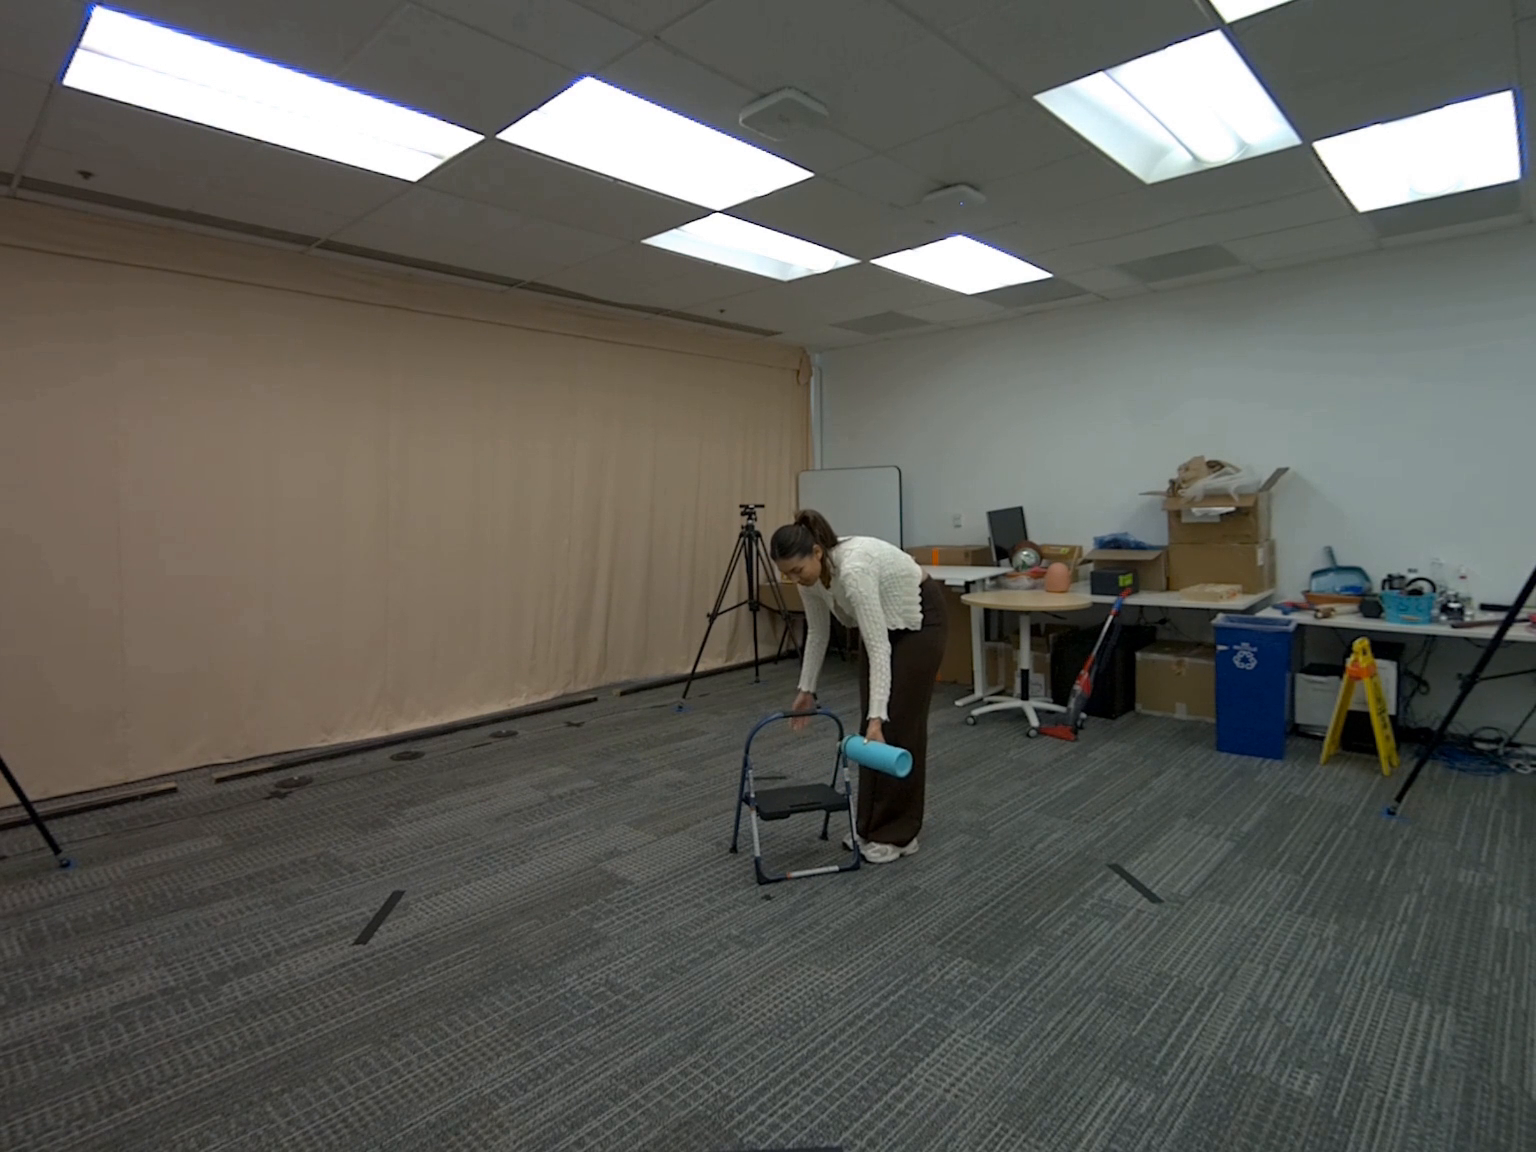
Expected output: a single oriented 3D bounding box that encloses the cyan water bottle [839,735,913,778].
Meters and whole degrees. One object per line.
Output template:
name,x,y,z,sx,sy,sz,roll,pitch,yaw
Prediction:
cyan water bottle,0.359,0.609,2.875,0.089,0.092,0.292,-4,6,-37
